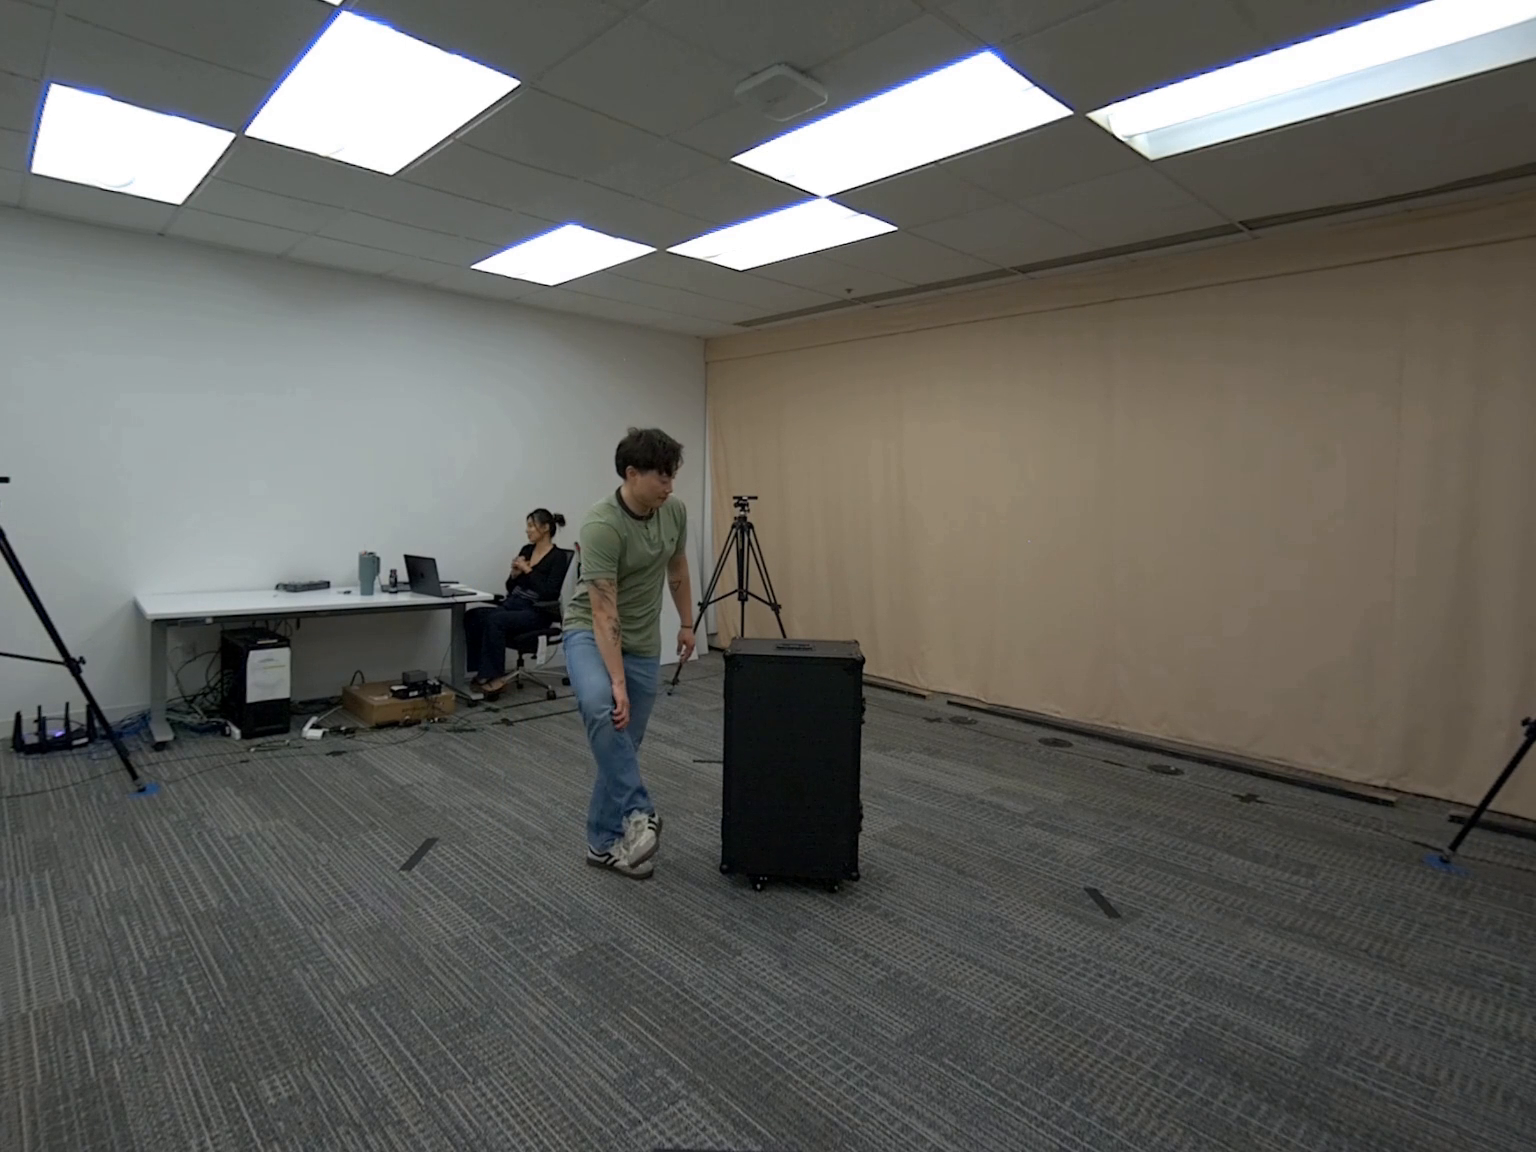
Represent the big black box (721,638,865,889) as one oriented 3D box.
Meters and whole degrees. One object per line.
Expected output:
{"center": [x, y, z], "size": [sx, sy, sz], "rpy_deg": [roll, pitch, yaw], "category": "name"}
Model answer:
{"center": [0.075, 0.687, 3.104], "size": [0.524, 0.860, 0.395], "rpy_deg": [1, 3, 5], "category": "big black box"}
